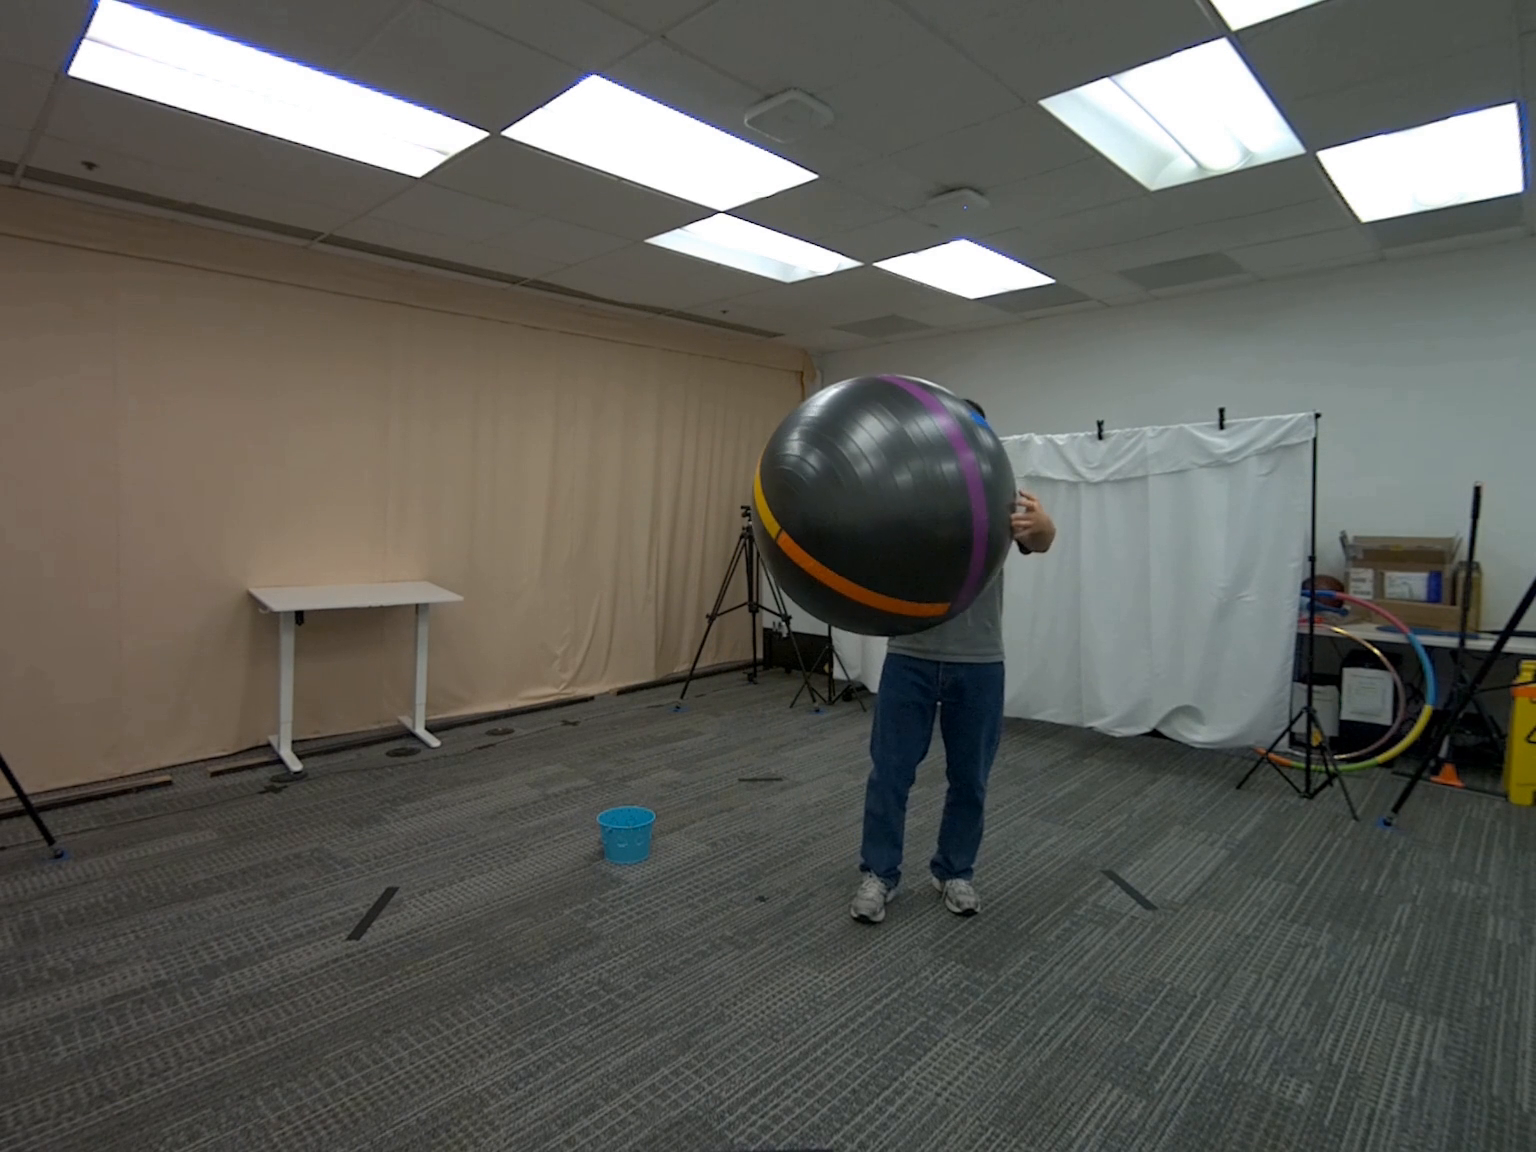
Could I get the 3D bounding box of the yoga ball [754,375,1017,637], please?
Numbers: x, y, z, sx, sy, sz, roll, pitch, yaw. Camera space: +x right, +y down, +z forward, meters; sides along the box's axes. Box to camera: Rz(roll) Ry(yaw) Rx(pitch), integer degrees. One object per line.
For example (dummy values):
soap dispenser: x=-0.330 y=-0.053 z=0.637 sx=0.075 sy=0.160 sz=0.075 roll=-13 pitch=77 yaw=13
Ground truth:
yoga ball: x=0.330 y=-0.198 z=2.459 sx=0.757 sy=0.756 sz=0.761 roll=0 pitch=4 yaw=-2
